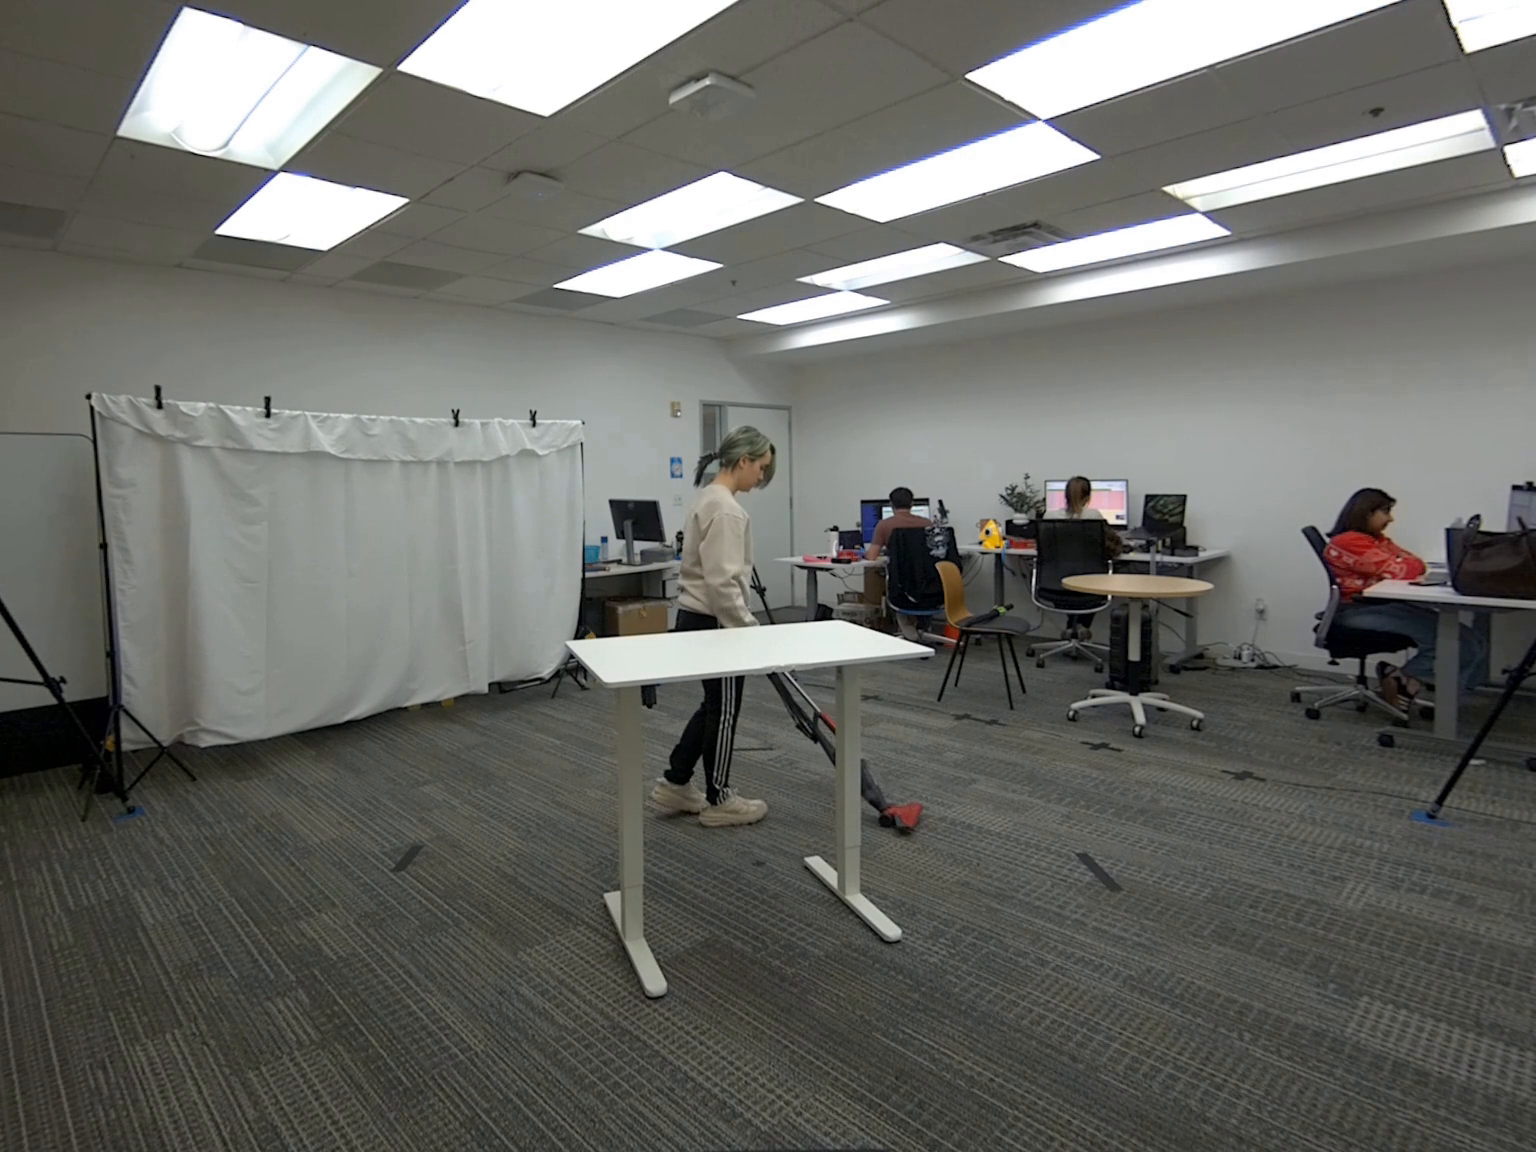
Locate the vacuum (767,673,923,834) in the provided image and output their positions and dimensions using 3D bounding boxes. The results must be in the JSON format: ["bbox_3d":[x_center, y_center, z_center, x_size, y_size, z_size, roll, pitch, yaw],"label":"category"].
[{"bbox_3d":[0.204,0.611,3.575,0.144,1.071,0.247,-46,-15,12],"label":"vacuum"}]
